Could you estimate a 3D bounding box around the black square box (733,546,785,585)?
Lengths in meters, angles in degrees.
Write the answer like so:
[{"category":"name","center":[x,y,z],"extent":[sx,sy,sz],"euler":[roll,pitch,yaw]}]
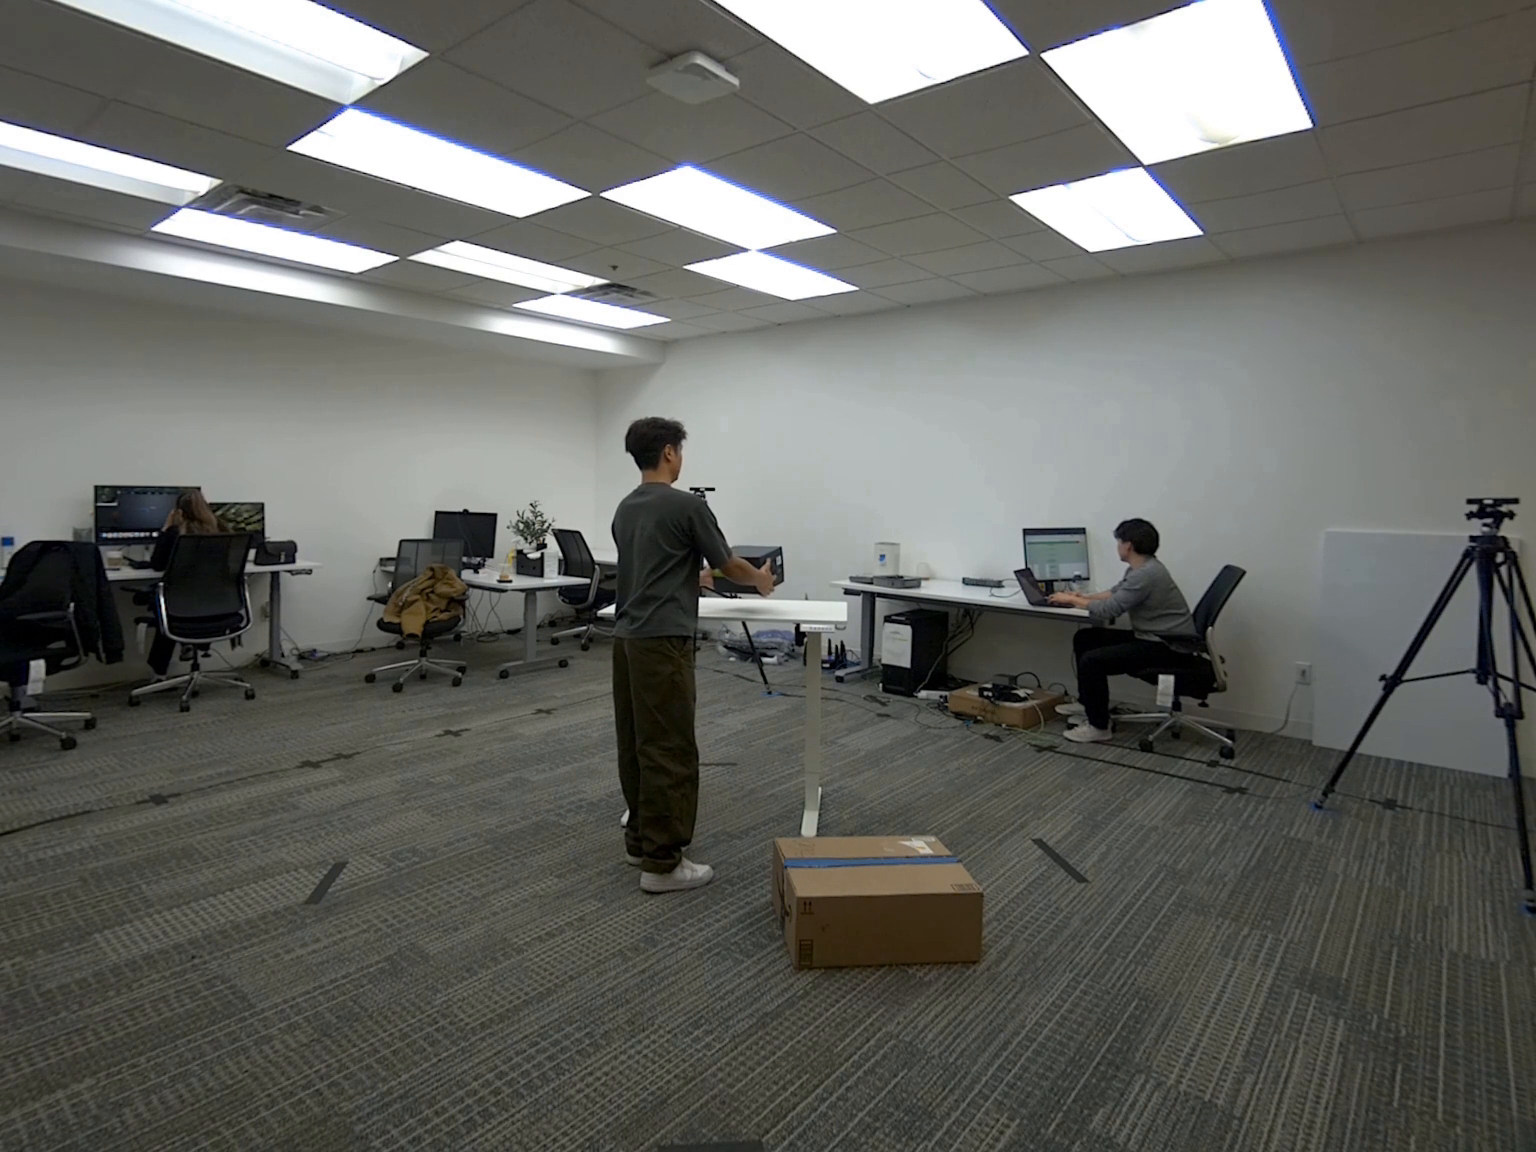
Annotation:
[{"category":"black square box","center":[-0.091,-0.034,3.565],"extent":[0.234,0.154,0.213],"euler":[2,14,29]}]
